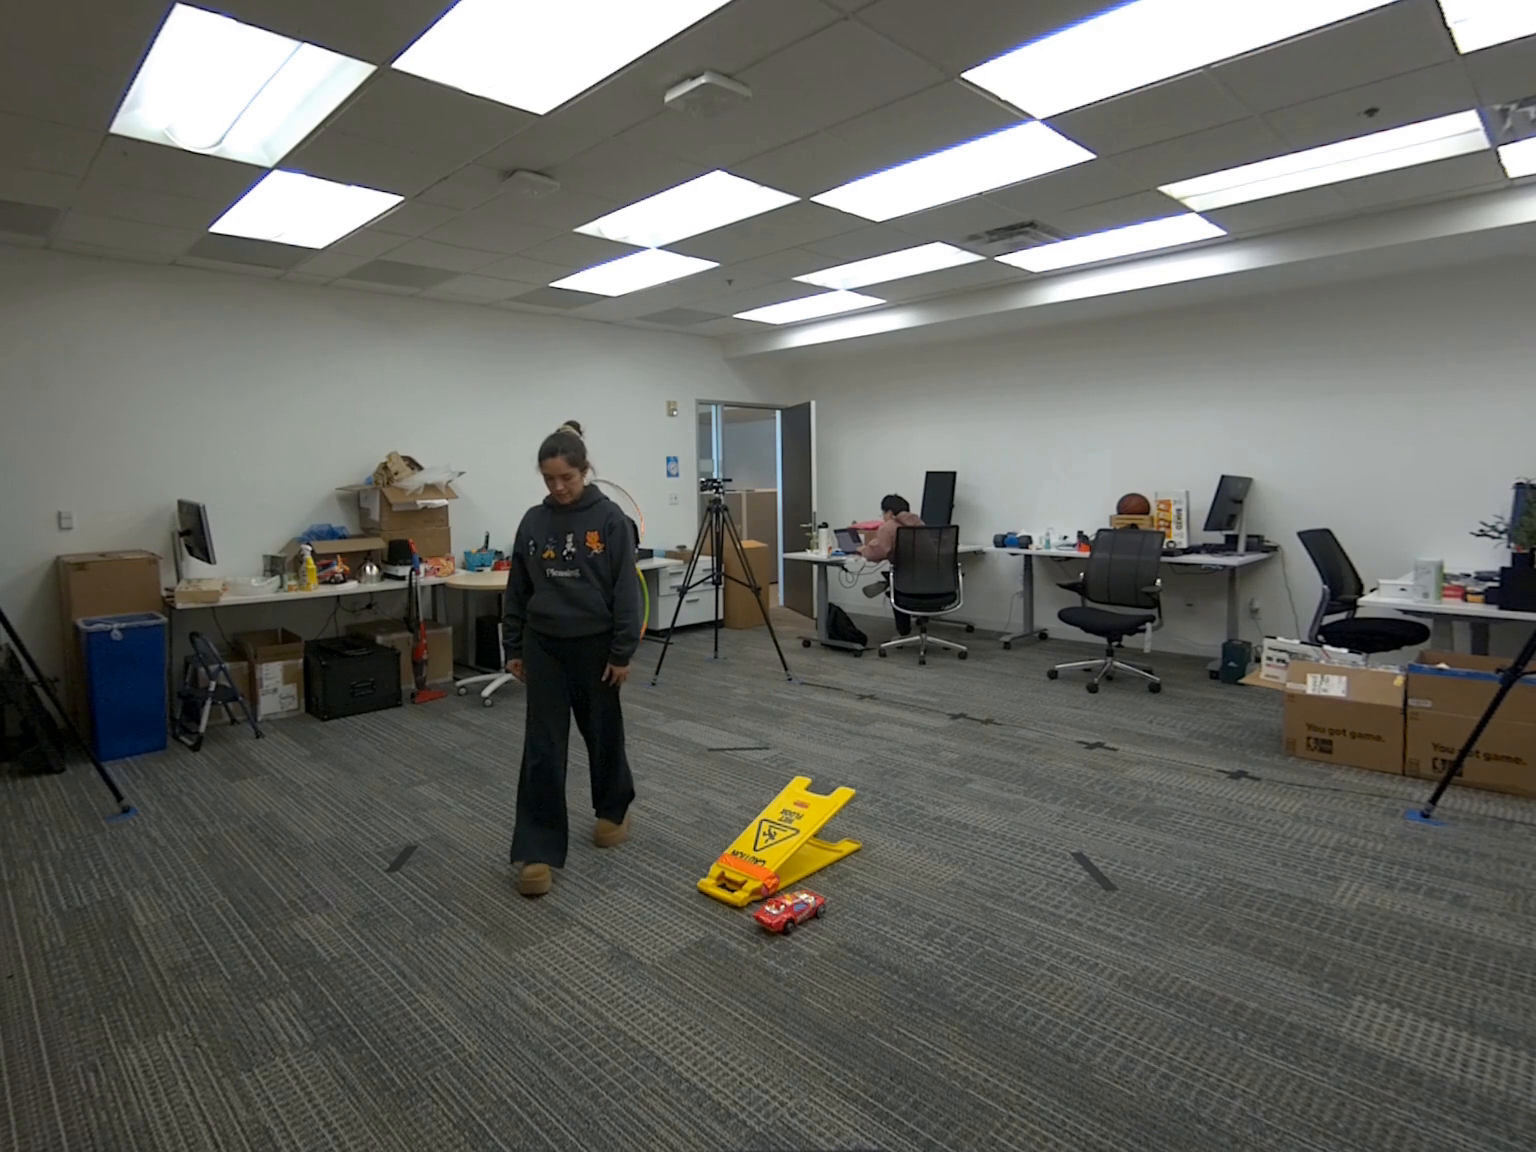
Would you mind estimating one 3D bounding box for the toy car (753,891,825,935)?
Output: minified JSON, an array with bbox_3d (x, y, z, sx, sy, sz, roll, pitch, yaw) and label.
[{"bbox_3d":[0.064,1.058,2.683,0.246,0.083,0.134,8,-2,-41],"label":"toy car"}]
